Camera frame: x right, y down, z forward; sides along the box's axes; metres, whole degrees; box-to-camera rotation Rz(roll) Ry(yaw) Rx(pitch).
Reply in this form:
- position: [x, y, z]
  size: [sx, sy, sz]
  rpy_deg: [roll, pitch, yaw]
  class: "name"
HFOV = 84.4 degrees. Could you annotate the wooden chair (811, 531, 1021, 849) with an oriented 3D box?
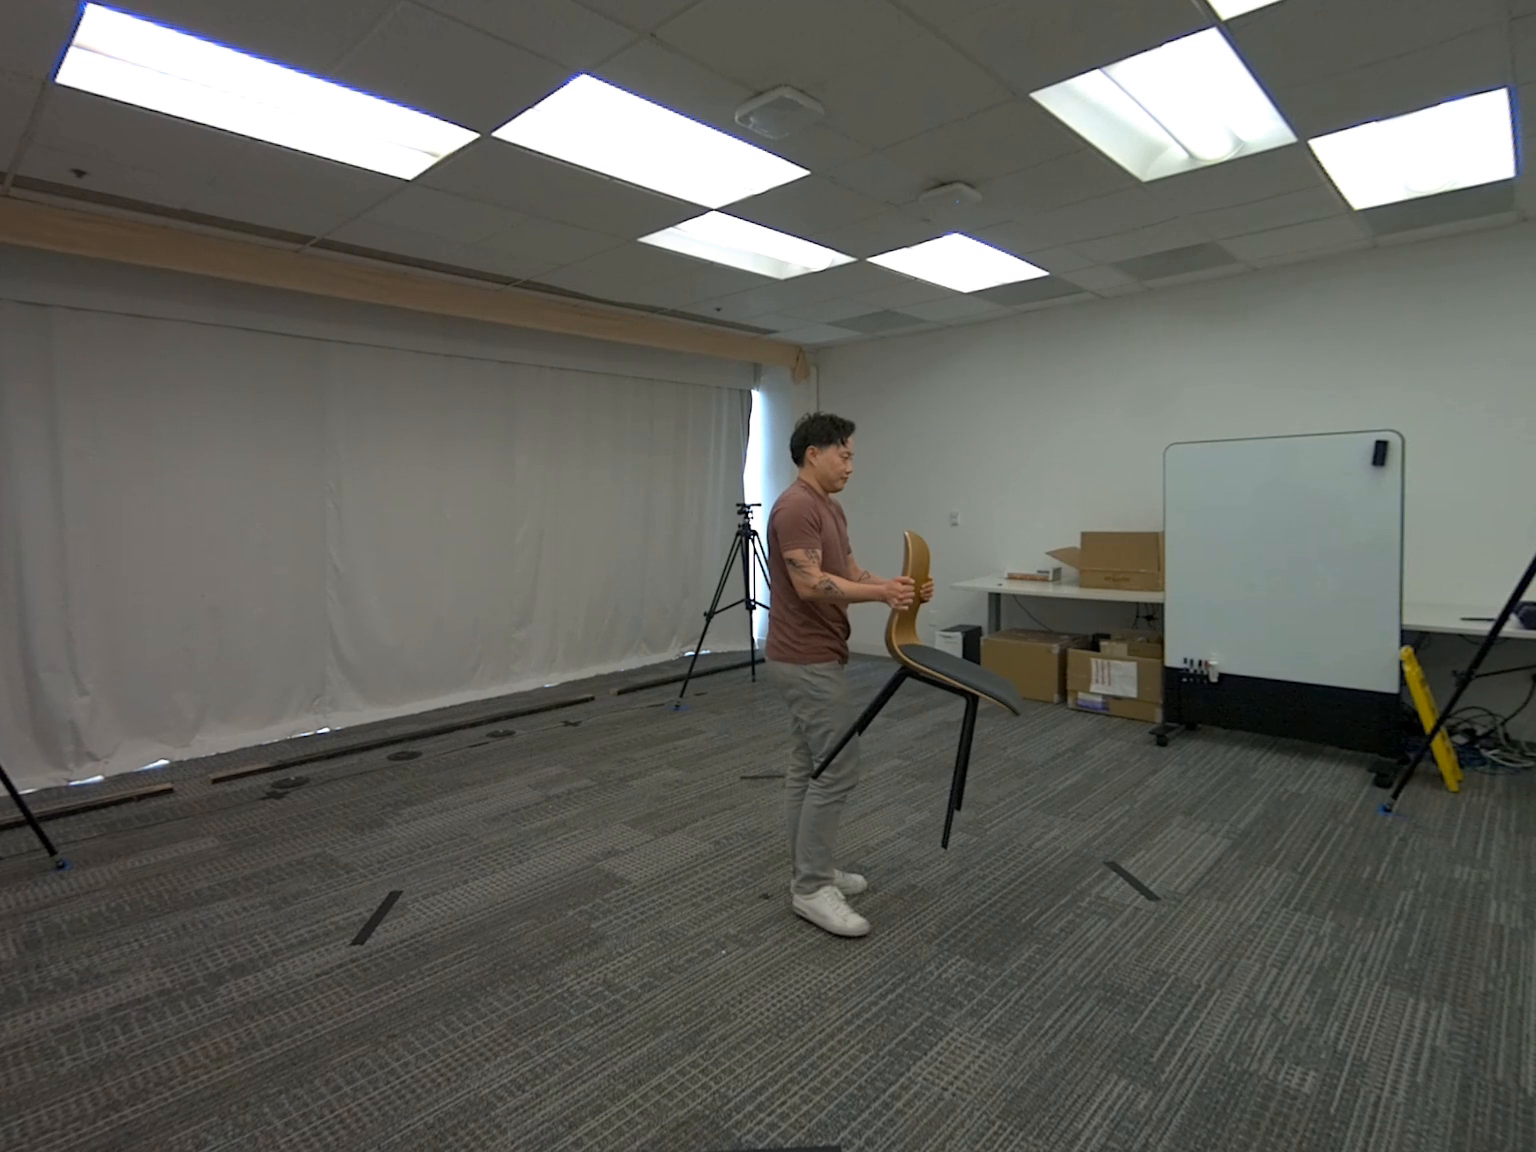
- position: [0.573, 0.350, 2.743]
  size: [0.535, 0.876, 0.467]
  rpy_deg: [19, 4, 19]
  class: "wooden chair"
